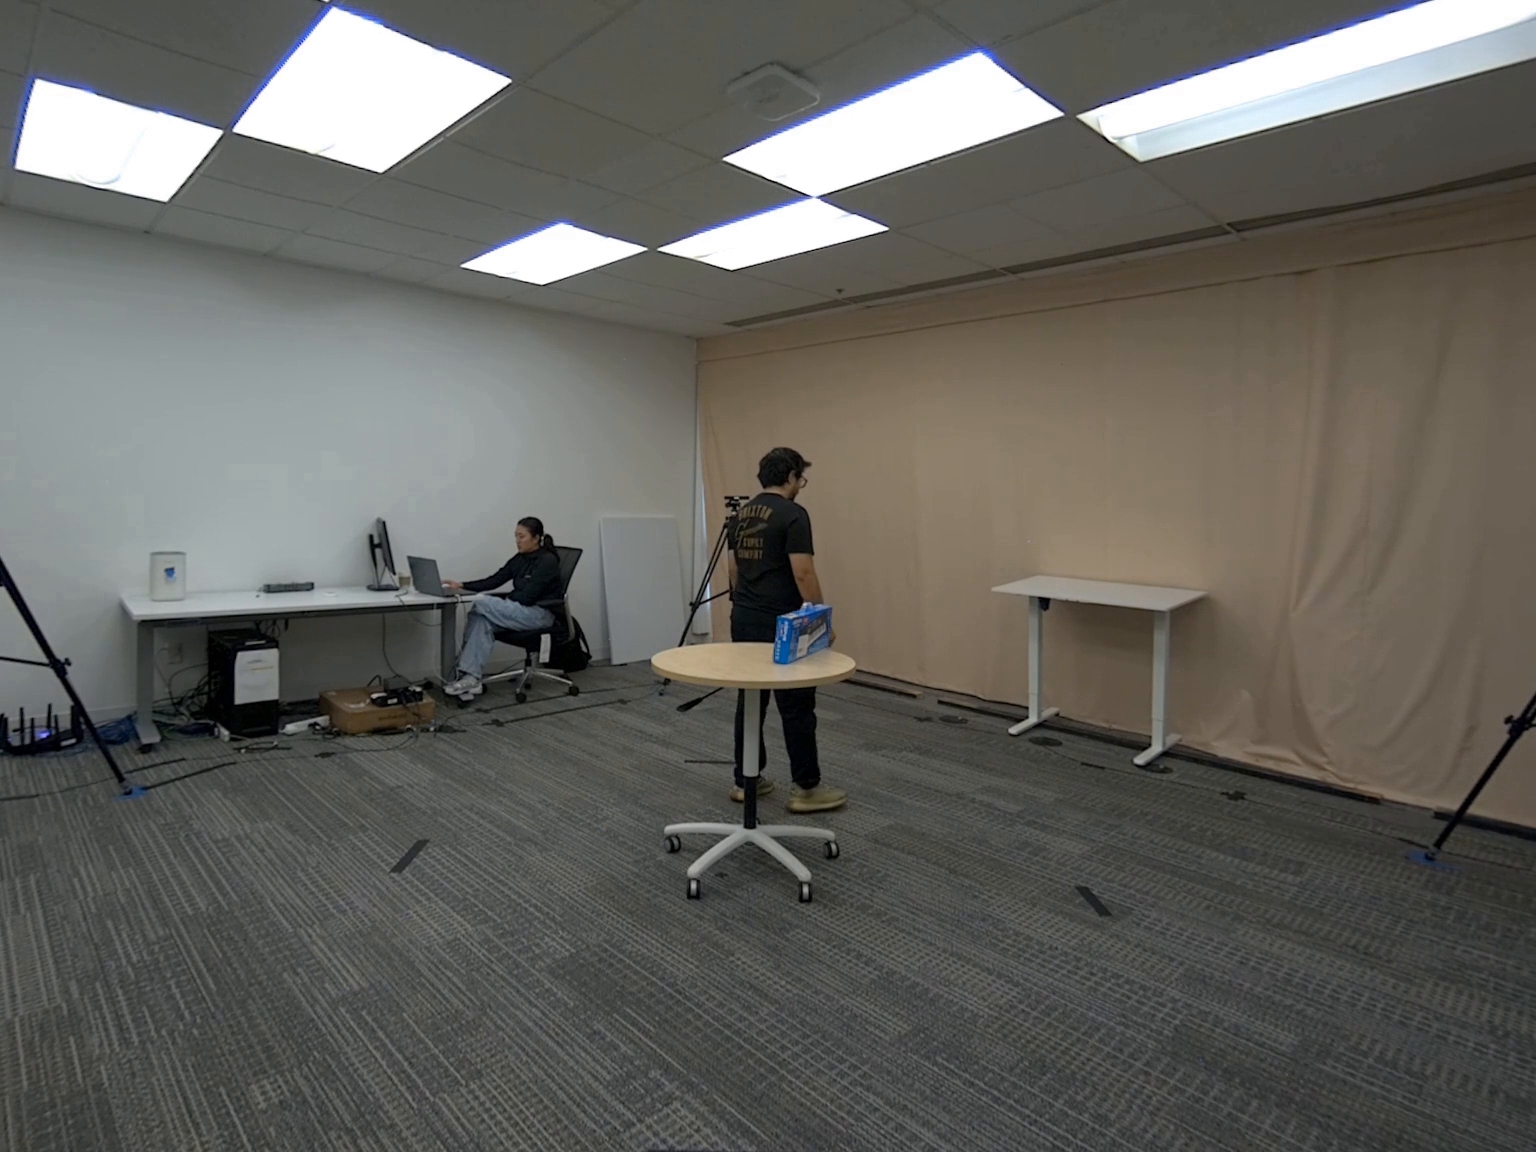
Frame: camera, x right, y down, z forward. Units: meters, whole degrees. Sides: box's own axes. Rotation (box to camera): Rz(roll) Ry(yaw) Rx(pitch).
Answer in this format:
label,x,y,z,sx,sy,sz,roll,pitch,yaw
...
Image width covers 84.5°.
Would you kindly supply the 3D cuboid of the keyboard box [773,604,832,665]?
label,x,y,z,sx,sy,sz,roll,pitch,yaw
keyboard box,0.131,0.224,3.279,0.060,0.175,0.430,10,8,23
